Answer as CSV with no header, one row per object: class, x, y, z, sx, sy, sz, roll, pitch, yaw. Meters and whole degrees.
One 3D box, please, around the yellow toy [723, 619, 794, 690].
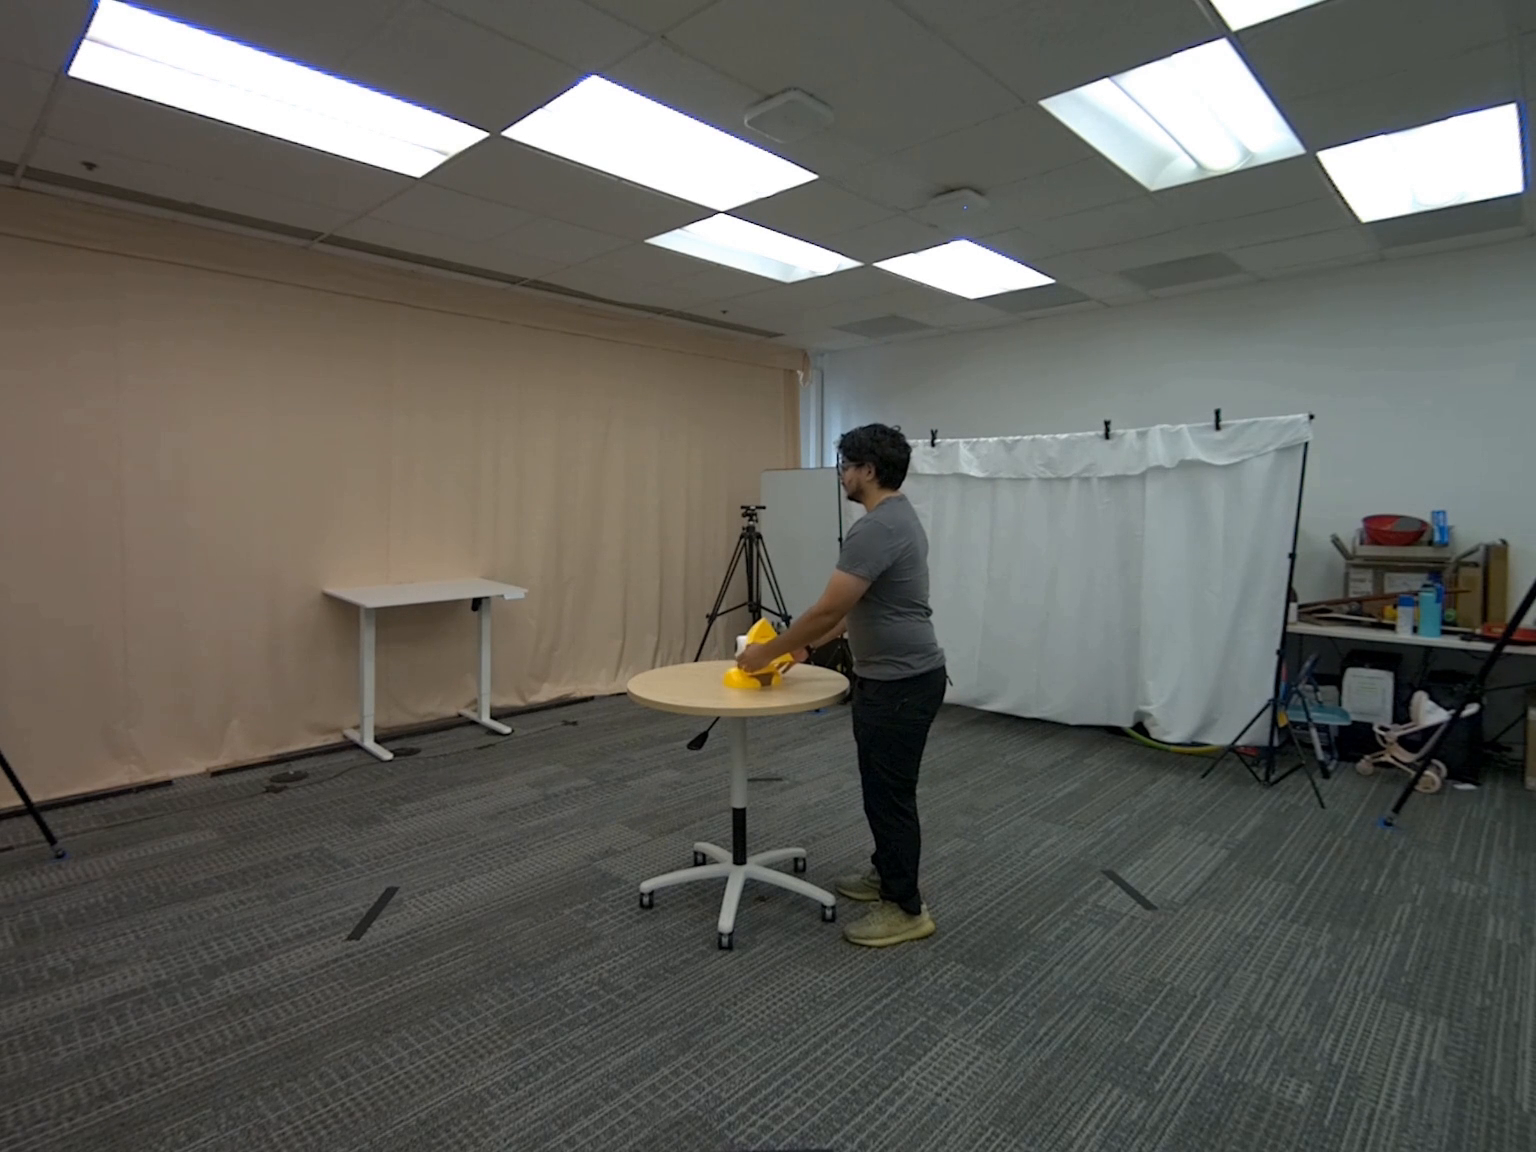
yellow toy,-0.044,0.253,2.889,0.199,0.230,0.199,-5,4,-32
